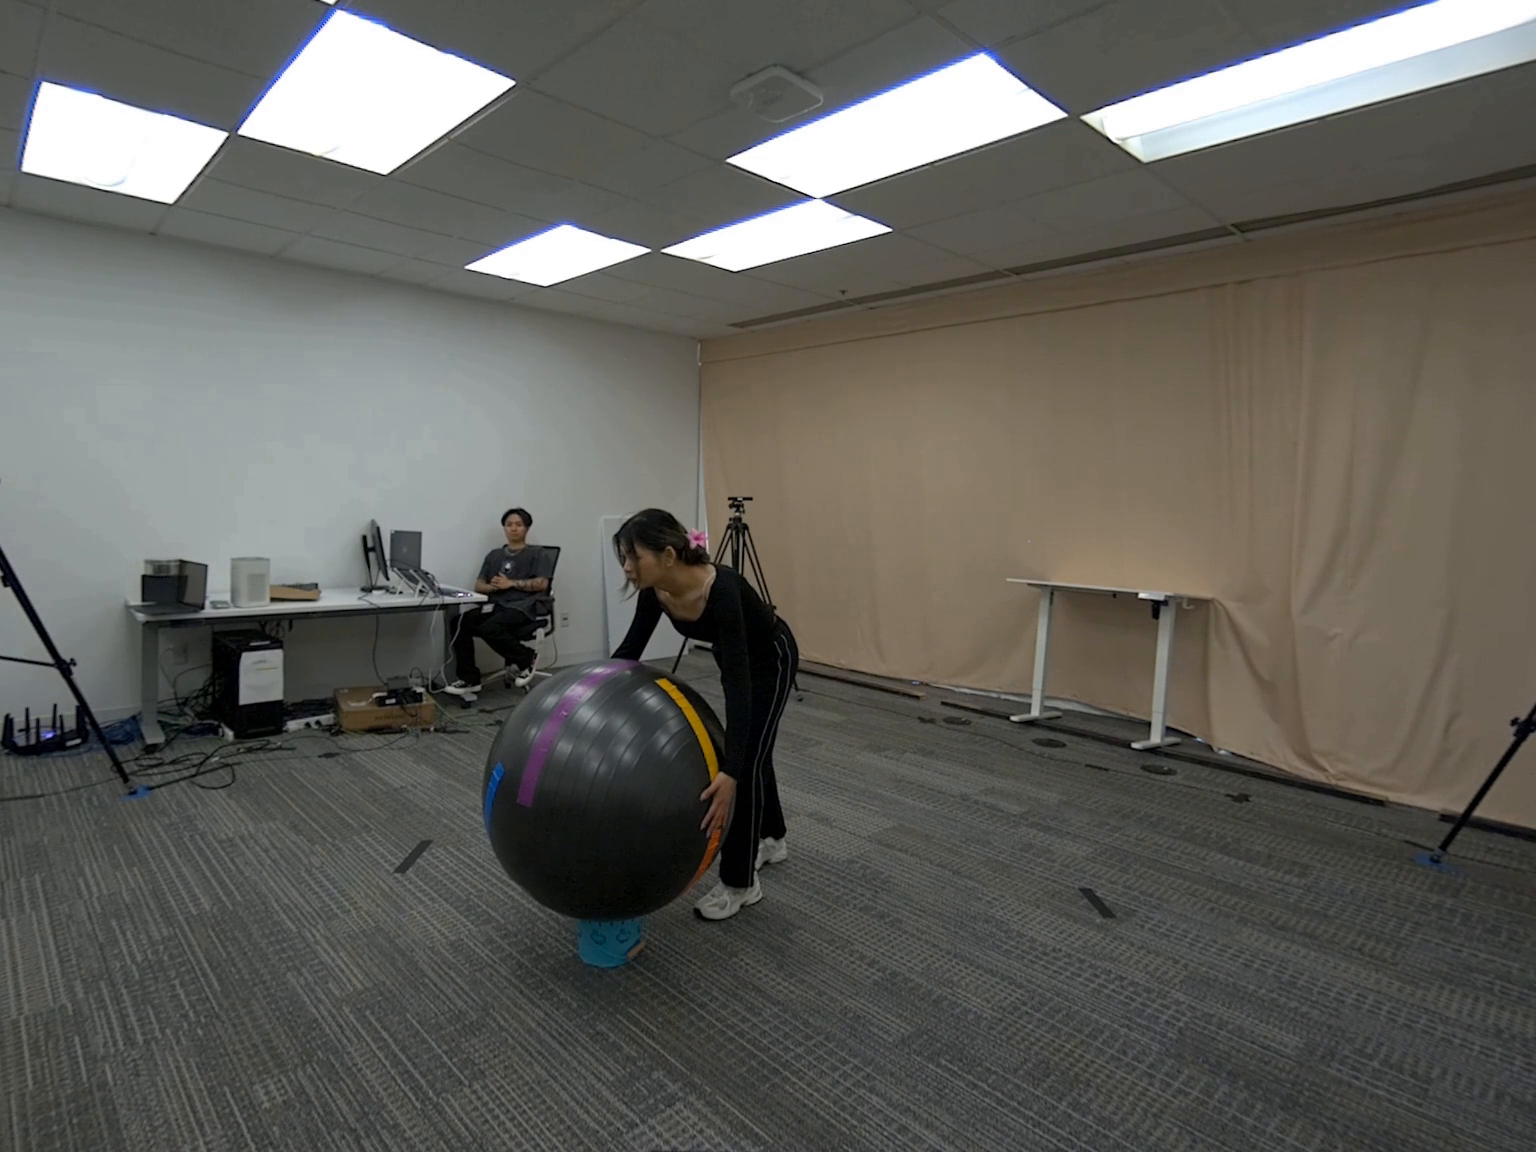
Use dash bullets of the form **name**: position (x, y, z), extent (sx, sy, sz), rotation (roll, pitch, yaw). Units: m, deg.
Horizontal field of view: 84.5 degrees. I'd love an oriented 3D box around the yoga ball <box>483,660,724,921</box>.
- **yoga ball**: position (-0.478, 0.638, 2.542), extent (0.757, 0.756, 0.761), rotation (1, 4, -1)
